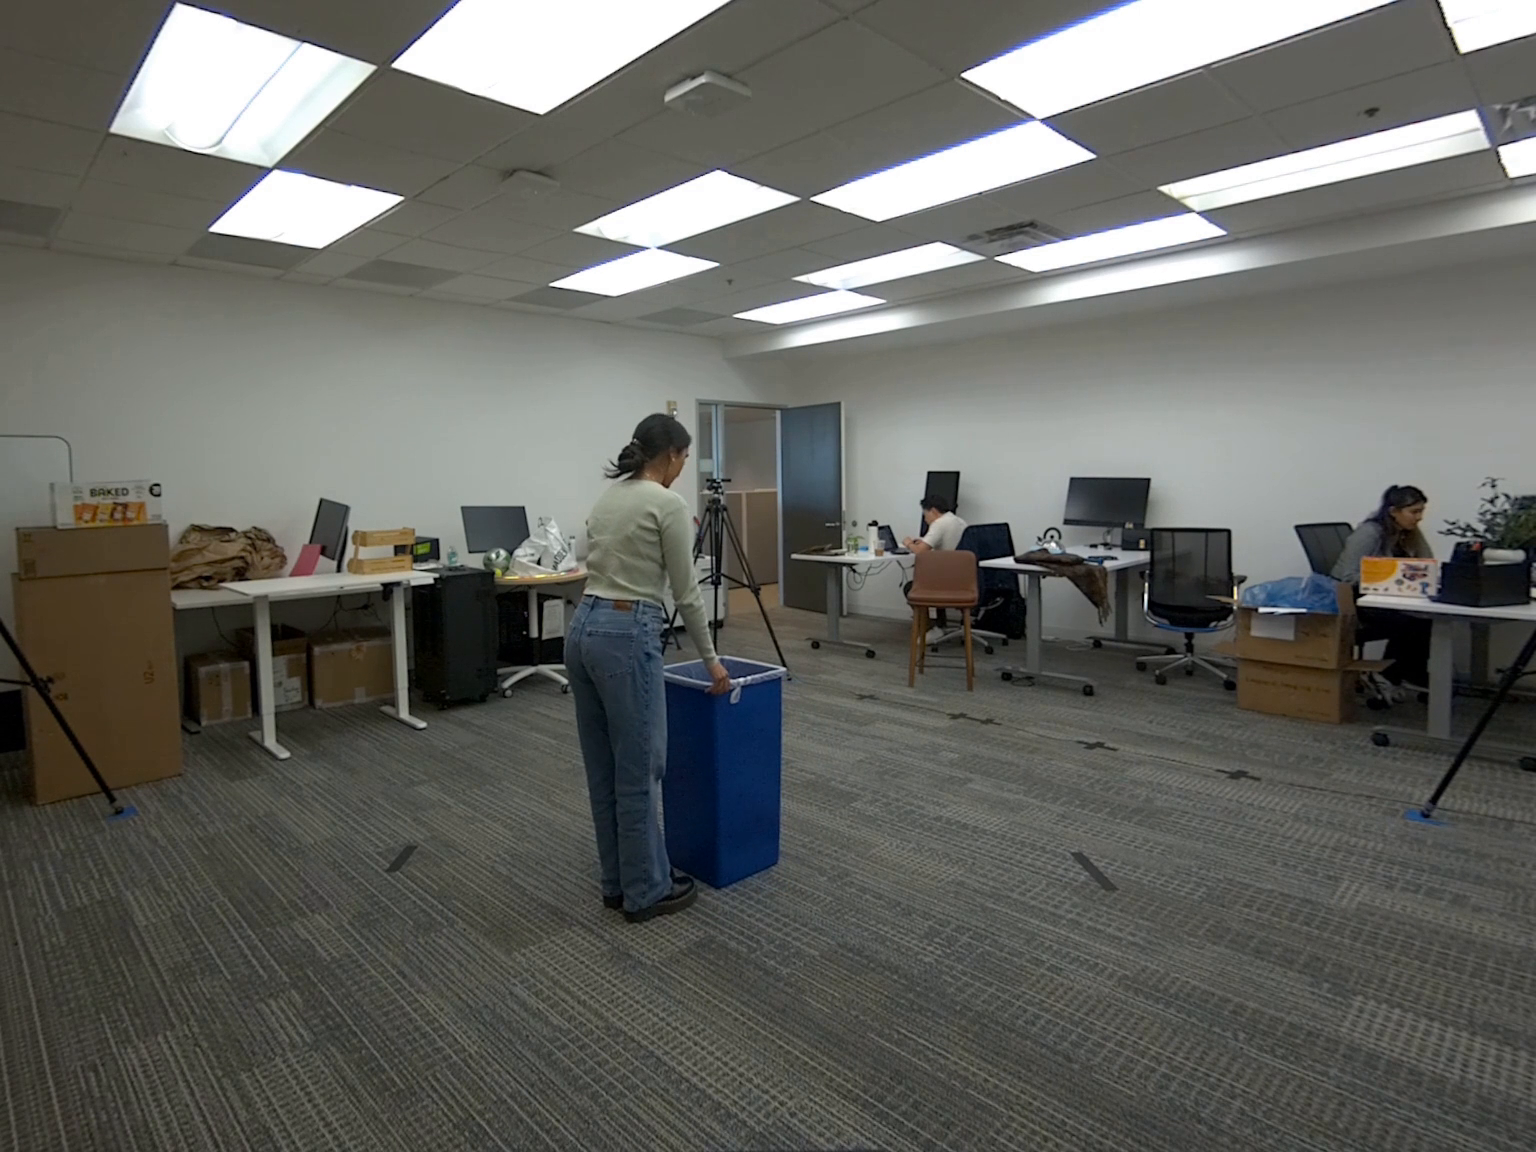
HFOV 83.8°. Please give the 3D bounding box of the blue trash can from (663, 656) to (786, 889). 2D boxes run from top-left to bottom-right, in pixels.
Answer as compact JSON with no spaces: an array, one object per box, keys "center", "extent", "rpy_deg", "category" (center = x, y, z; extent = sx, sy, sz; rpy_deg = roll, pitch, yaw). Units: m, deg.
[{"center":[-0.175,0.689,3.097],"extent":[0.368,0.711,0.385],"rpy_deg":[-5,6,-43],"category":"blue trash can"}]
